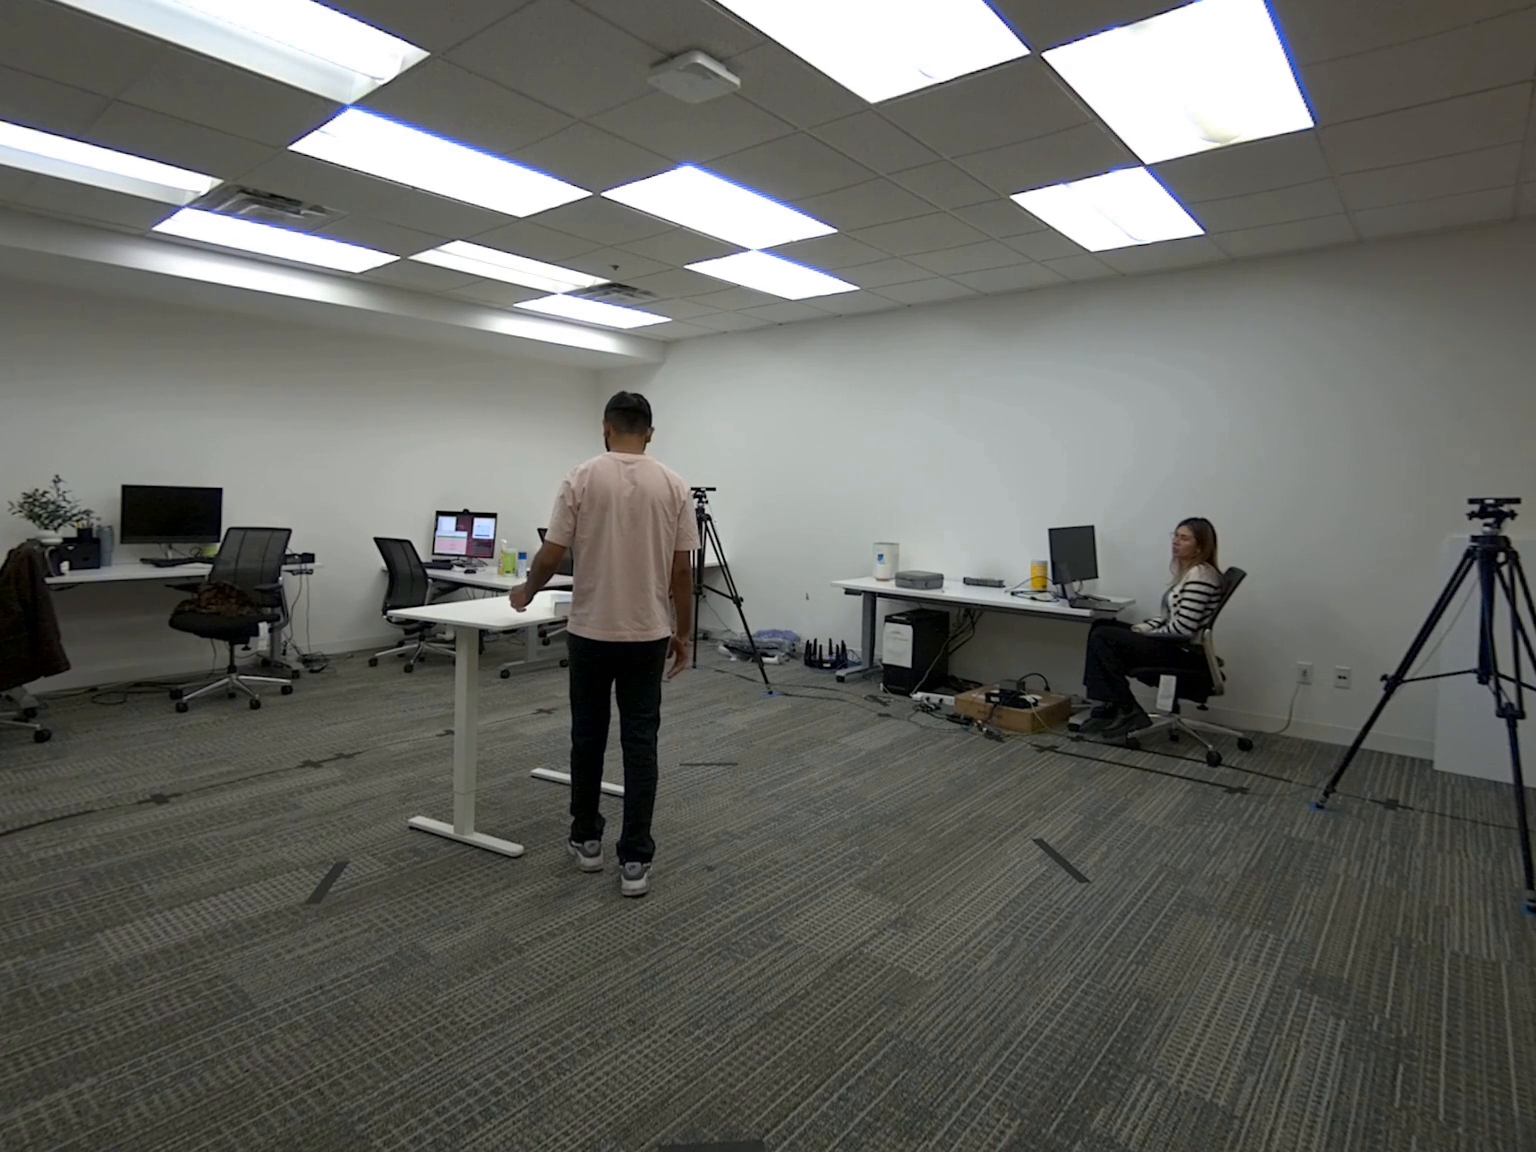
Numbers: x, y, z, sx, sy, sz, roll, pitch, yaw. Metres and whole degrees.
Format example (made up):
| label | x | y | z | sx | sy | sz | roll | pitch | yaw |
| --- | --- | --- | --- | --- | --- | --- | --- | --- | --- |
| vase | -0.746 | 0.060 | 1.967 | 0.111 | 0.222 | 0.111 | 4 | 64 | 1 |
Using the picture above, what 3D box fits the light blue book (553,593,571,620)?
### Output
| label | x | y | z | sx | sy | sz | roll | pitch | yaw |
| --- | --- | --- | --- | --- | --- | --- | --- | --- | --- |
| light blue book | -0.811 | 0.115 | 3.457 | 0.188 | 0.059 | 0.266 | -1 | 5 | -17 |
